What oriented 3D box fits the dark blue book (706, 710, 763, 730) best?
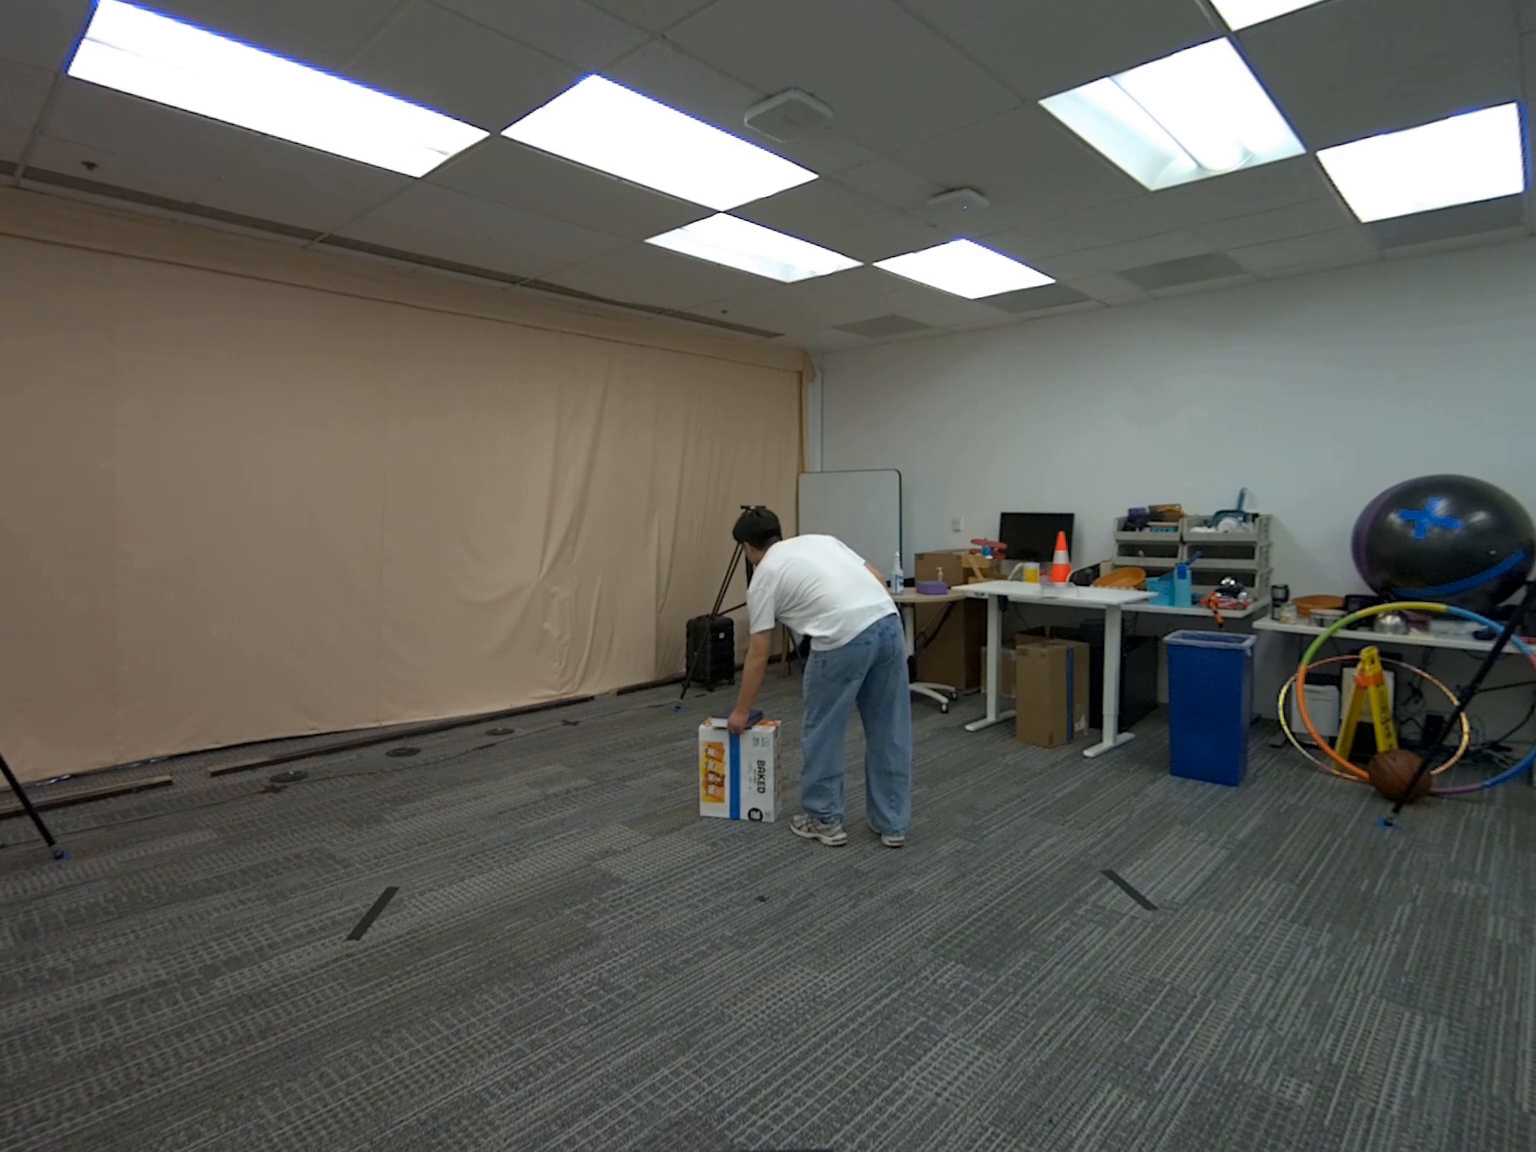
[{"bbox_3d":[-0.143,0.641,3.821,0.167,0.045,0.240,0,2,21],"label":"dark blue book"}]
